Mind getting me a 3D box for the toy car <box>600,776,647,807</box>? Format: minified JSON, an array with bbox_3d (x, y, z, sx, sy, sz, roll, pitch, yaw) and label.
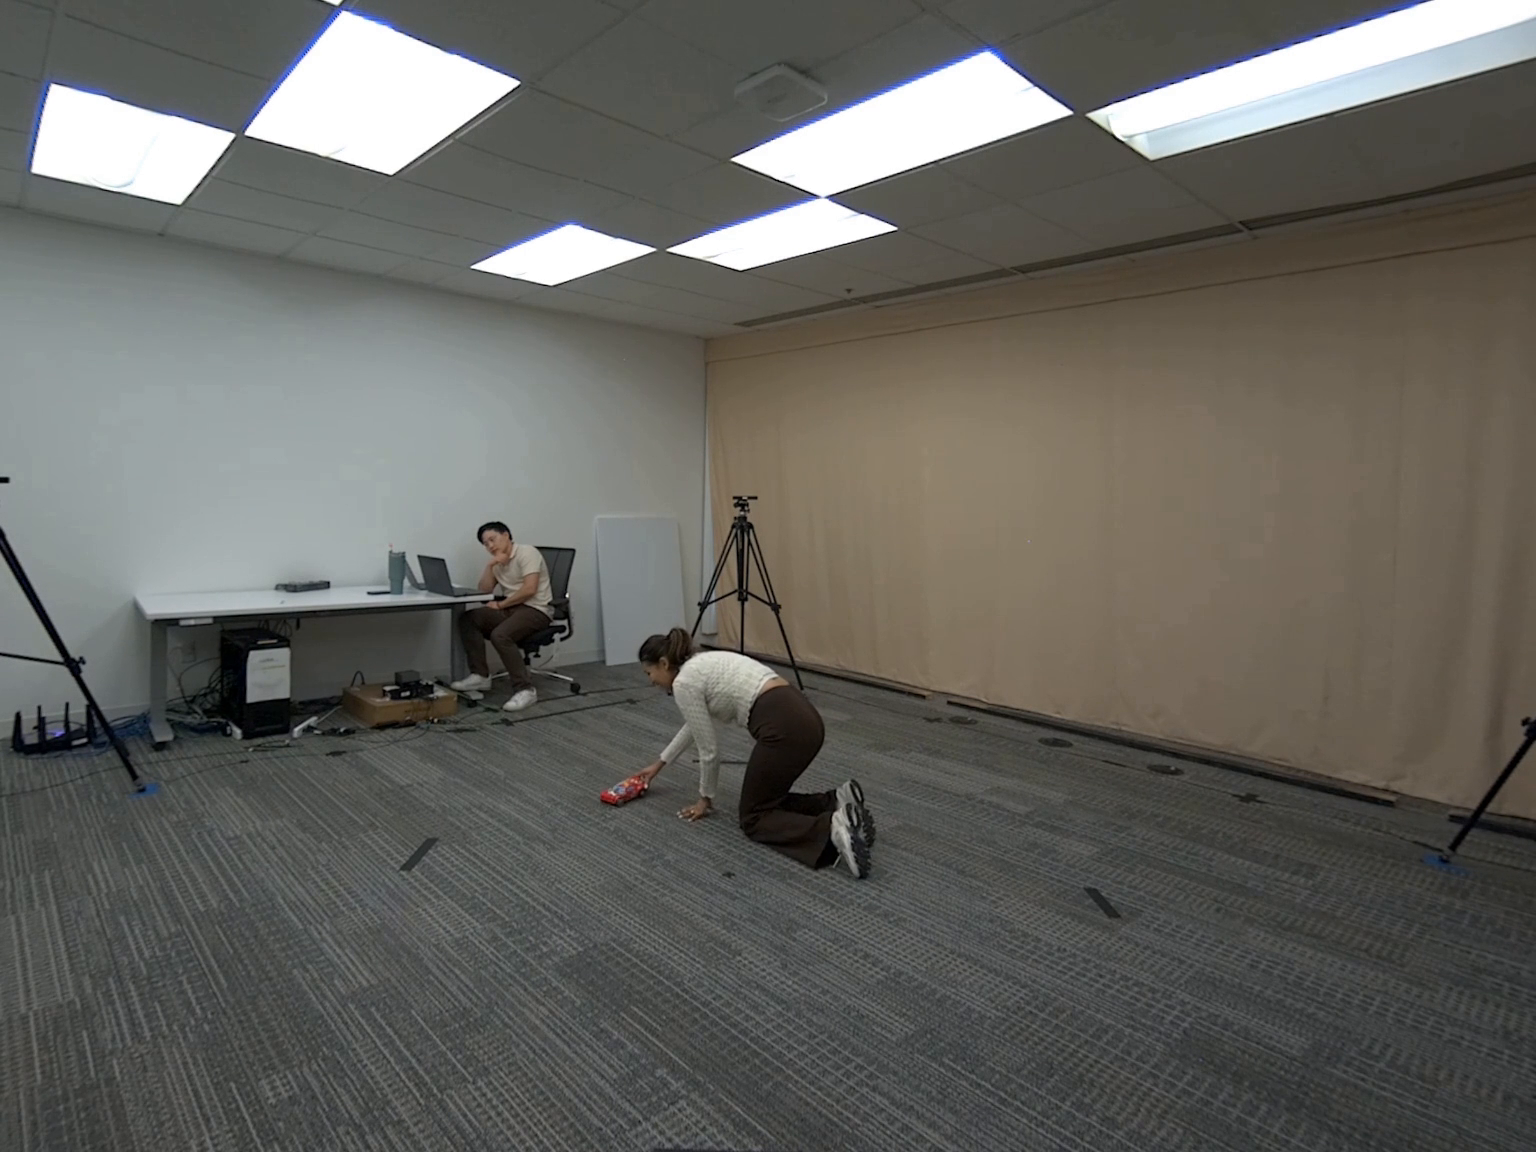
[{"bbox_3d":[-0.656,0.986,3.872,0.133,0.082,0.251,3,15,37],"label":"toy car"}]
